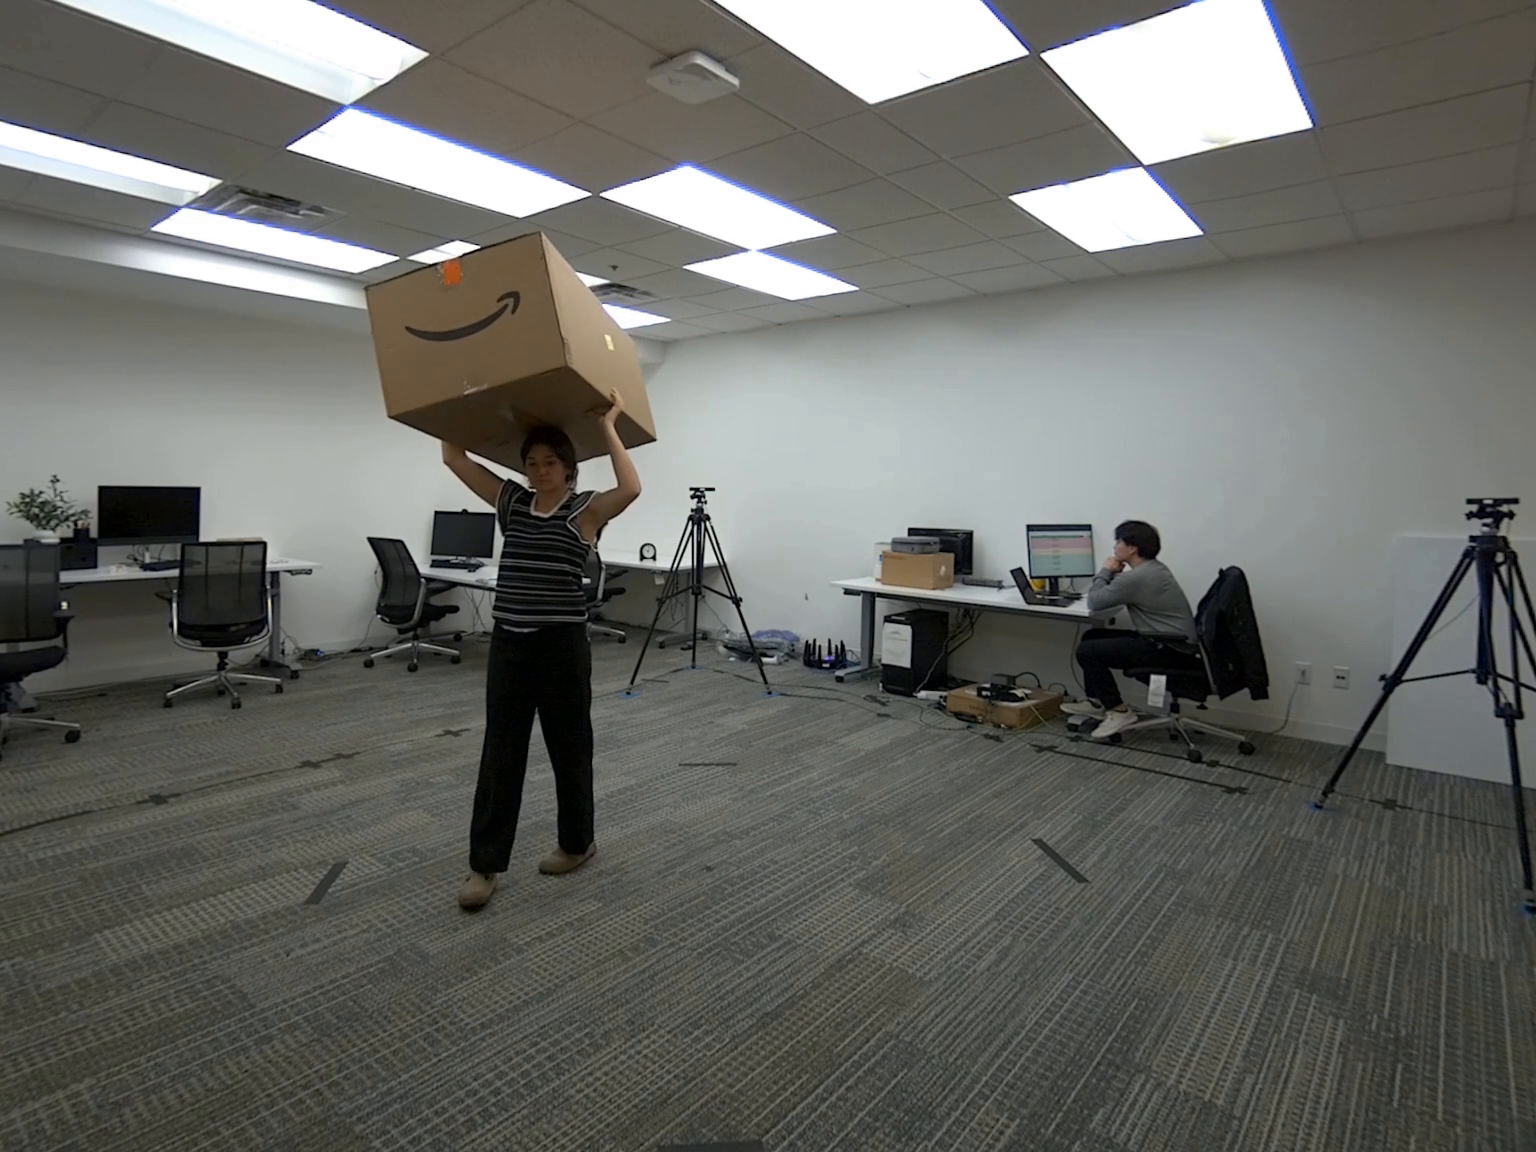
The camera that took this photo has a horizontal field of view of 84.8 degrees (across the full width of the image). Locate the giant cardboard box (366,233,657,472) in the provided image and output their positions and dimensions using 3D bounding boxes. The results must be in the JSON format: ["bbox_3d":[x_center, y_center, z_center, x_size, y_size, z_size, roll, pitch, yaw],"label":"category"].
[{"bbox_3d":[-0.848,-0.714,2.980,0.581,0.430,1.010,-14,-6,7],"label":"giant cardboard box"}]
